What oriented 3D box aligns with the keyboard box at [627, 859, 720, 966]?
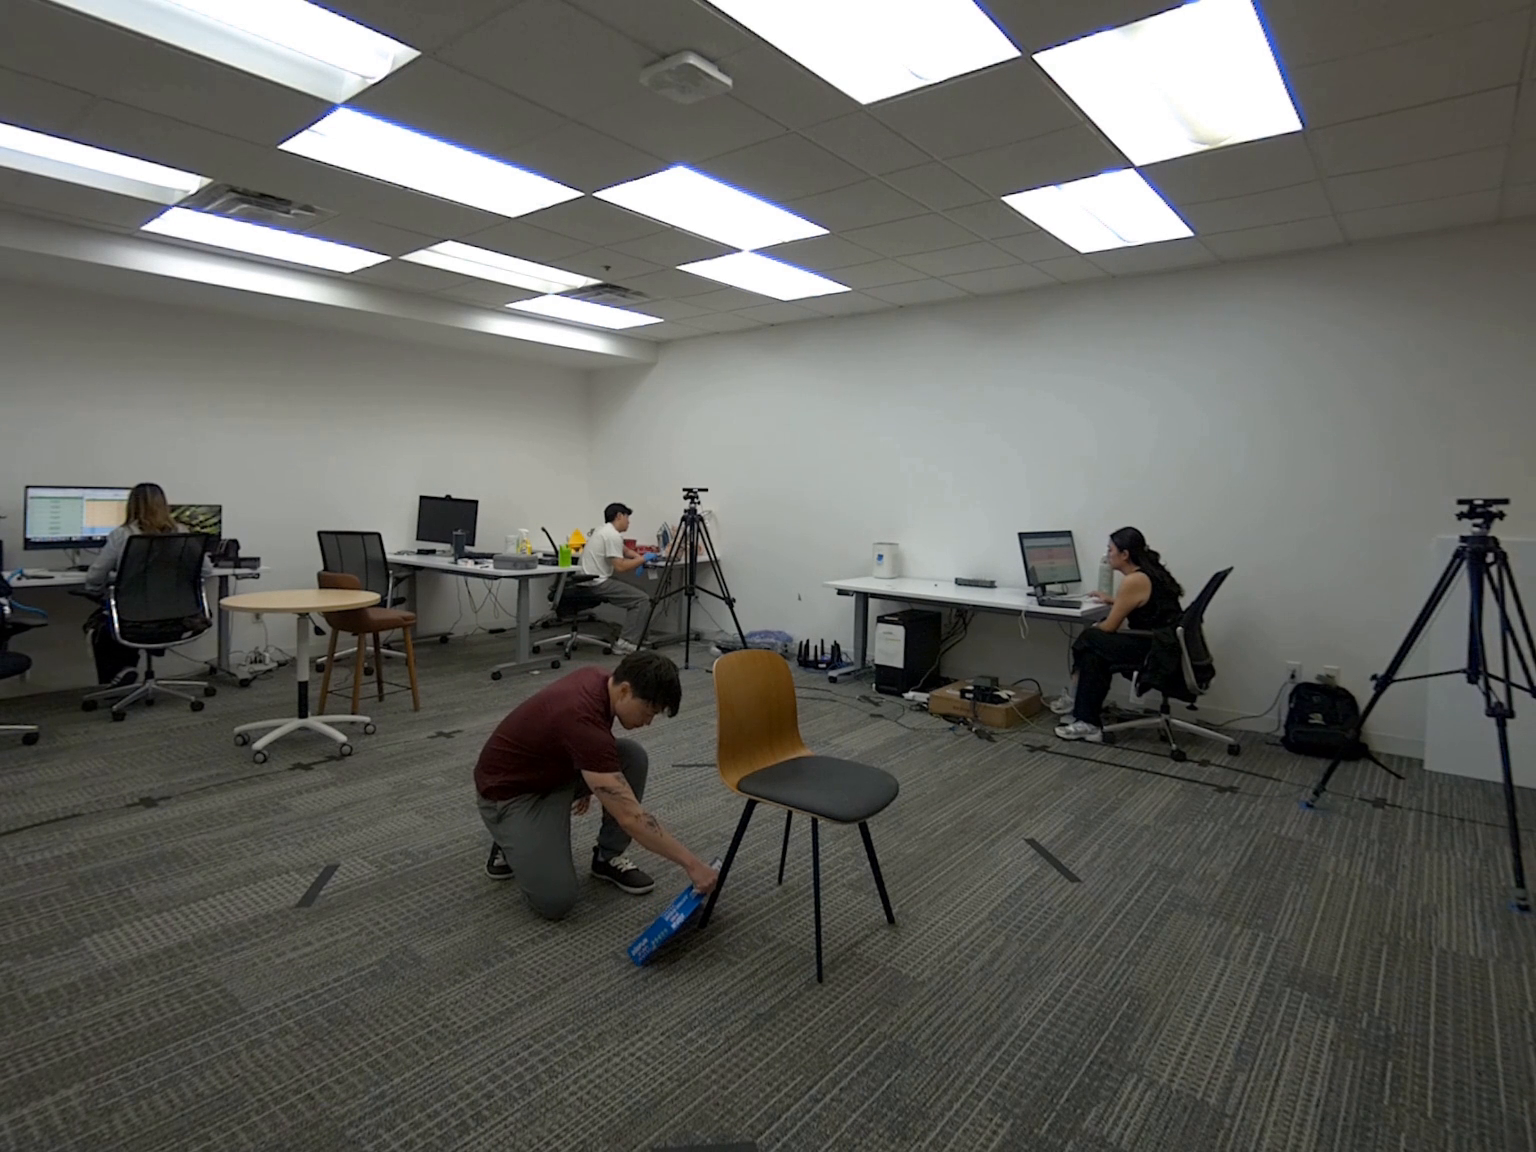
[{"bbox_3d":[-0.282,1.033,2.646,0.060,0.176,0.429,44,17,11],"label":"keyboard box"}]
